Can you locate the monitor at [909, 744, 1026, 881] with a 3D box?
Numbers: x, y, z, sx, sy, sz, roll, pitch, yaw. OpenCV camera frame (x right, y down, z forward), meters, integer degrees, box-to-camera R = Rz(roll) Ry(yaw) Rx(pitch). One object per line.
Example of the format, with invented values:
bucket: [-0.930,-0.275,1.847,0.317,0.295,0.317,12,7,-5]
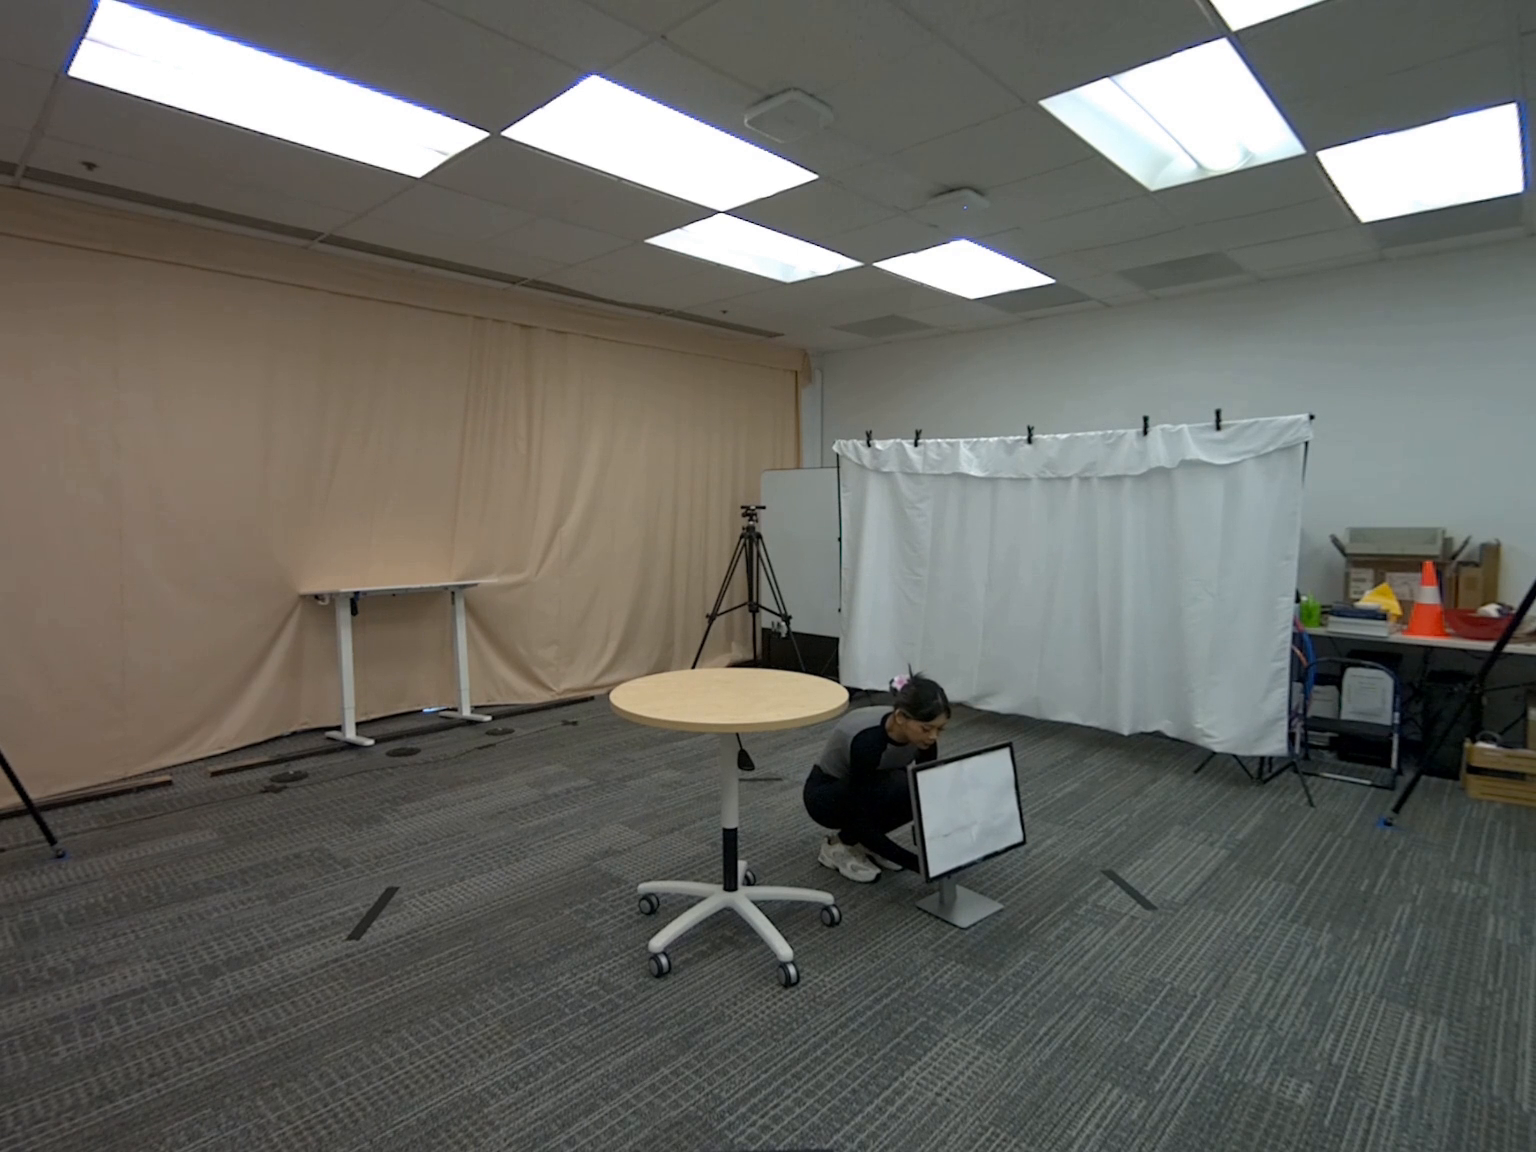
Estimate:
monitor: [0.677,0.887,2.897,0.522,0.521,0.193,-2,5,-41]
